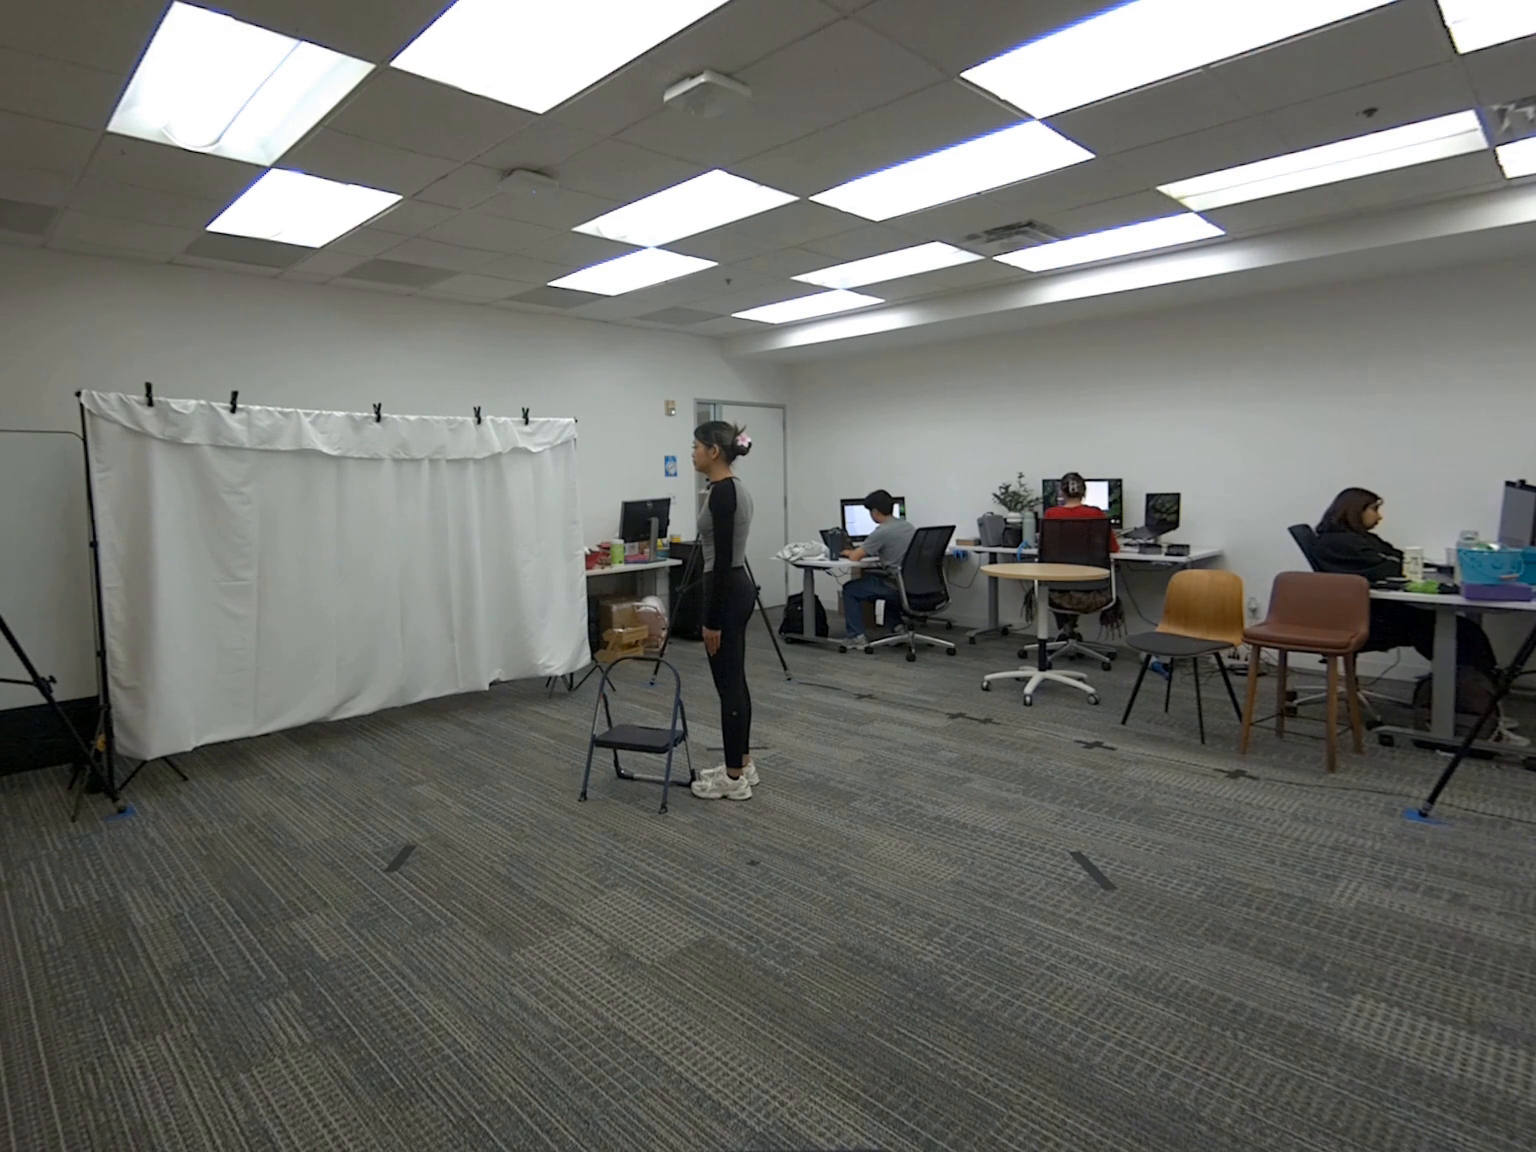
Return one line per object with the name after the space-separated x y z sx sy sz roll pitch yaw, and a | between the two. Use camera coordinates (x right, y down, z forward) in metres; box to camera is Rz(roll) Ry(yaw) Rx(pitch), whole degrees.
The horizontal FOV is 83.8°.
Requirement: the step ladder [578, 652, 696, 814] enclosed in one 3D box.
-0.578 0.674 3.804 0.440 0.604 0.343 2 4 22 | step ladder
